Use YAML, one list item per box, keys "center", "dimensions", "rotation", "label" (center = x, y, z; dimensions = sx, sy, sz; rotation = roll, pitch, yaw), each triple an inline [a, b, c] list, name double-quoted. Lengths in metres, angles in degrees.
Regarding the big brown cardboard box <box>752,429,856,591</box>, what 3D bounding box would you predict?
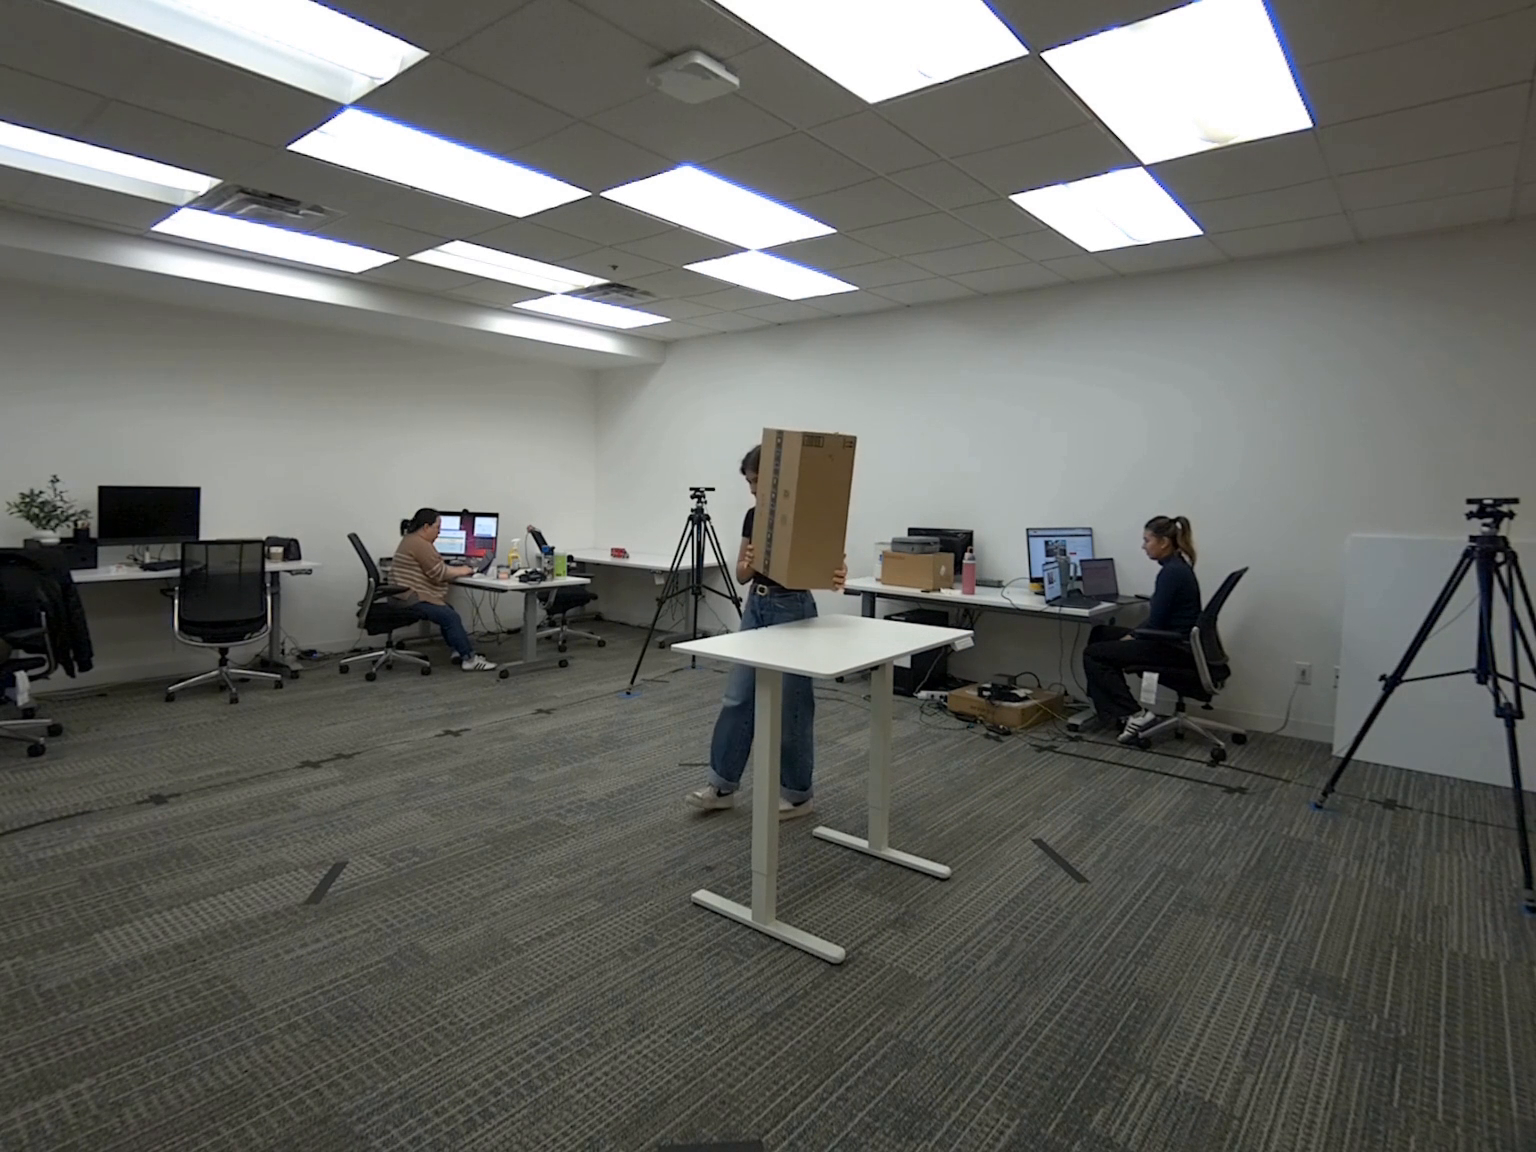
- center: [0.109, -0.270, 3.242]
  dimensions: [0.229, 0.584, 0.429]
  rotation: [2, 10, -18]
  label: "big brown cardboard box"
